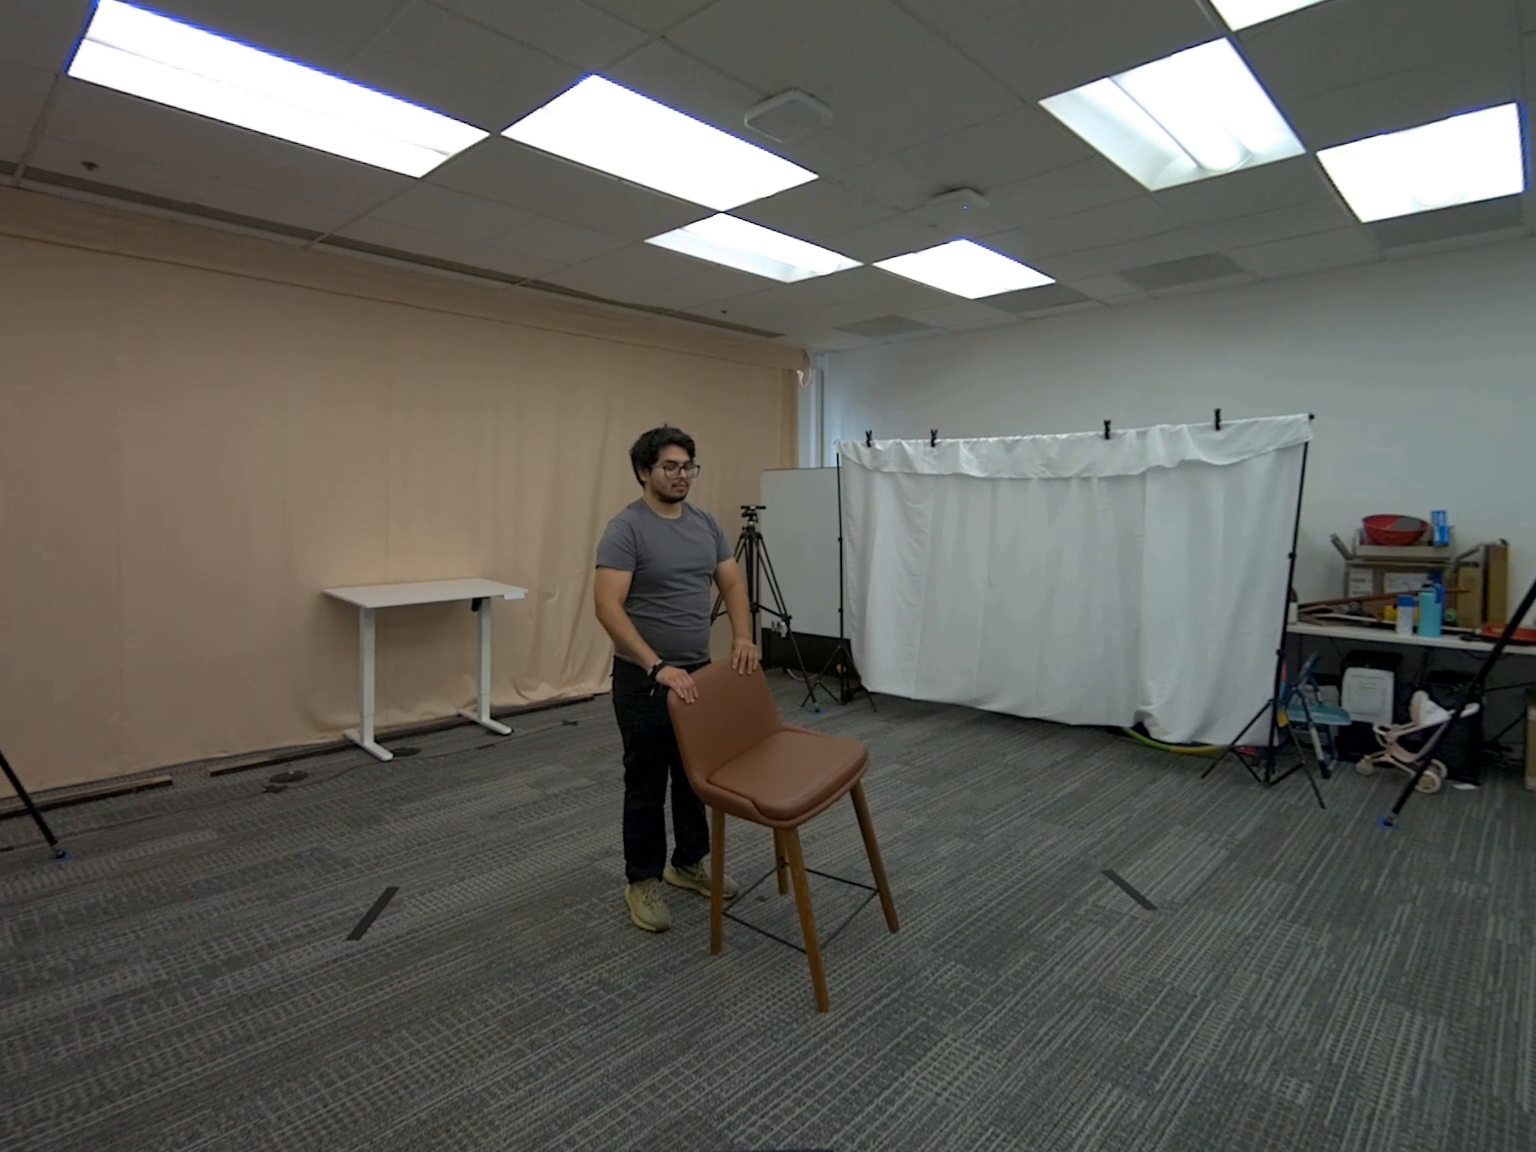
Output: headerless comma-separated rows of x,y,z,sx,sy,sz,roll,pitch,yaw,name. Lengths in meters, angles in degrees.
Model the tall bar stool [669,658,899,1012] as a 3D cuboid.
0.046,0.715,2.529,0.482,0.883,0.445,-1,13,41,tall bar stool
